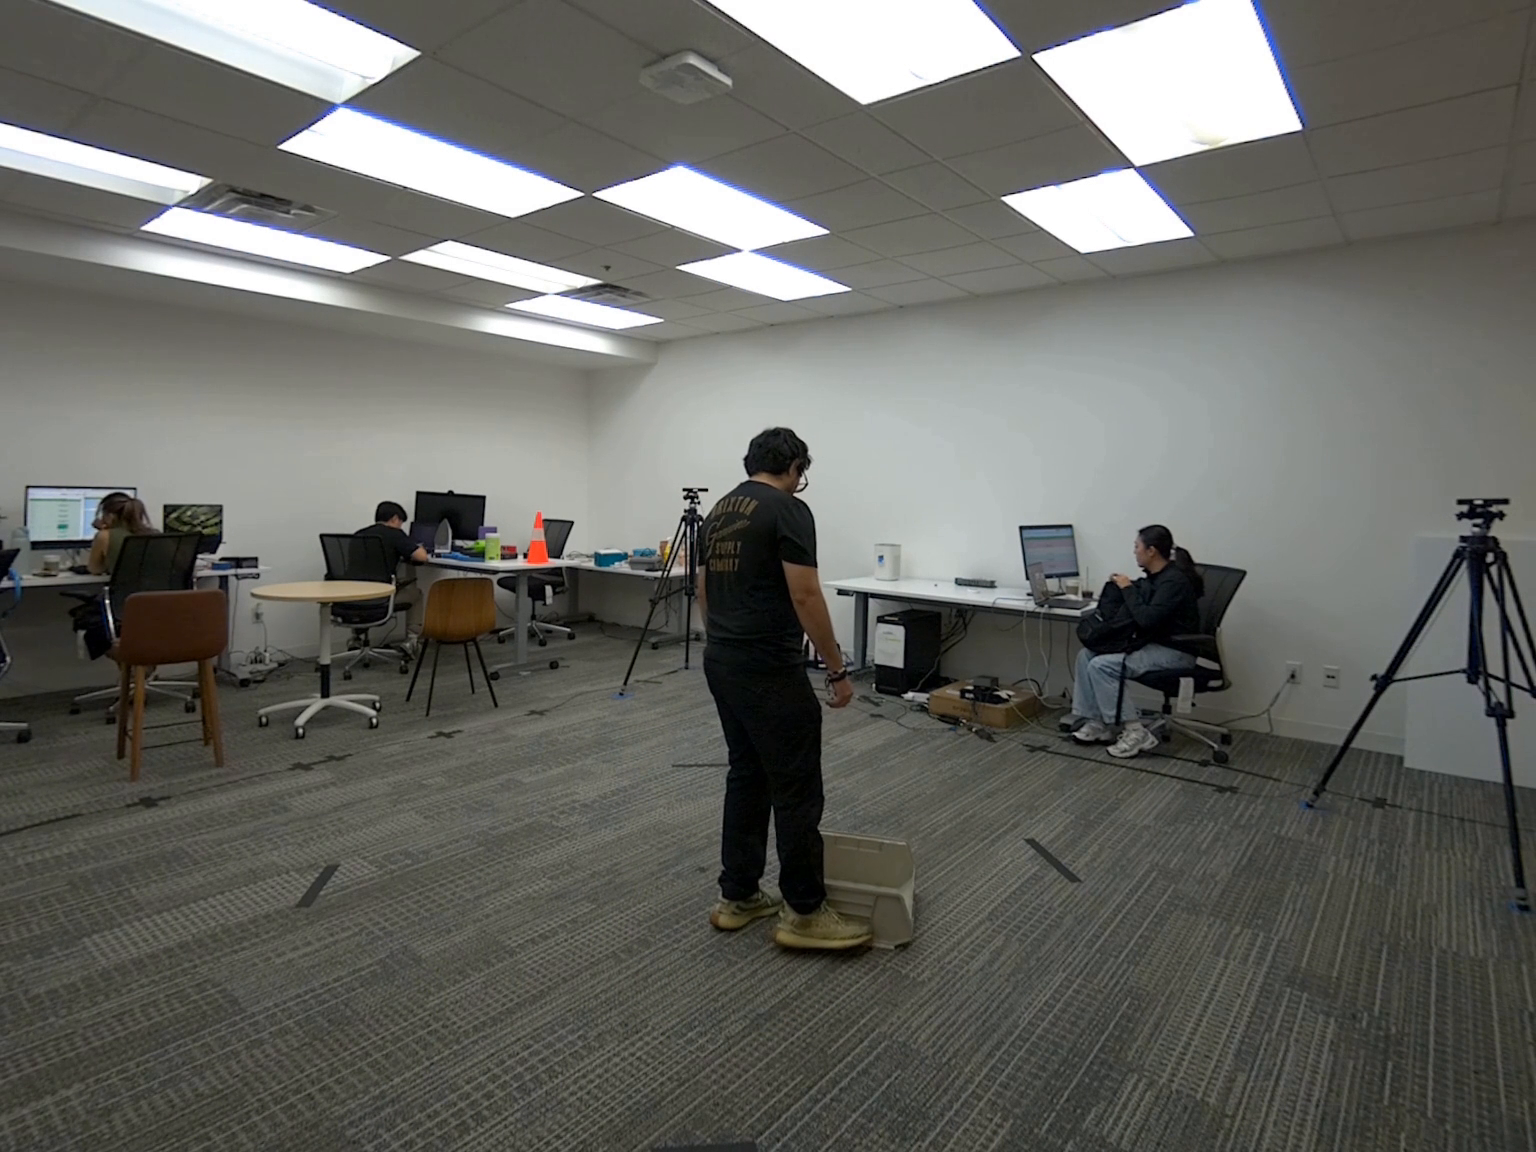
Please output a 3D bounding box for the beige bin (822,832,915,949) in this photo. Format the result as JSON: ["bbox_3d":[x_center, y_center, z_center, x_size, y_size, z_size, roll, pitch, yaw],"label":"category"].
[{"bbox_3d":[0.290,1.021,2.817,0.383,0.188,0.417,2,5,14],"label":"beige bin"}]
